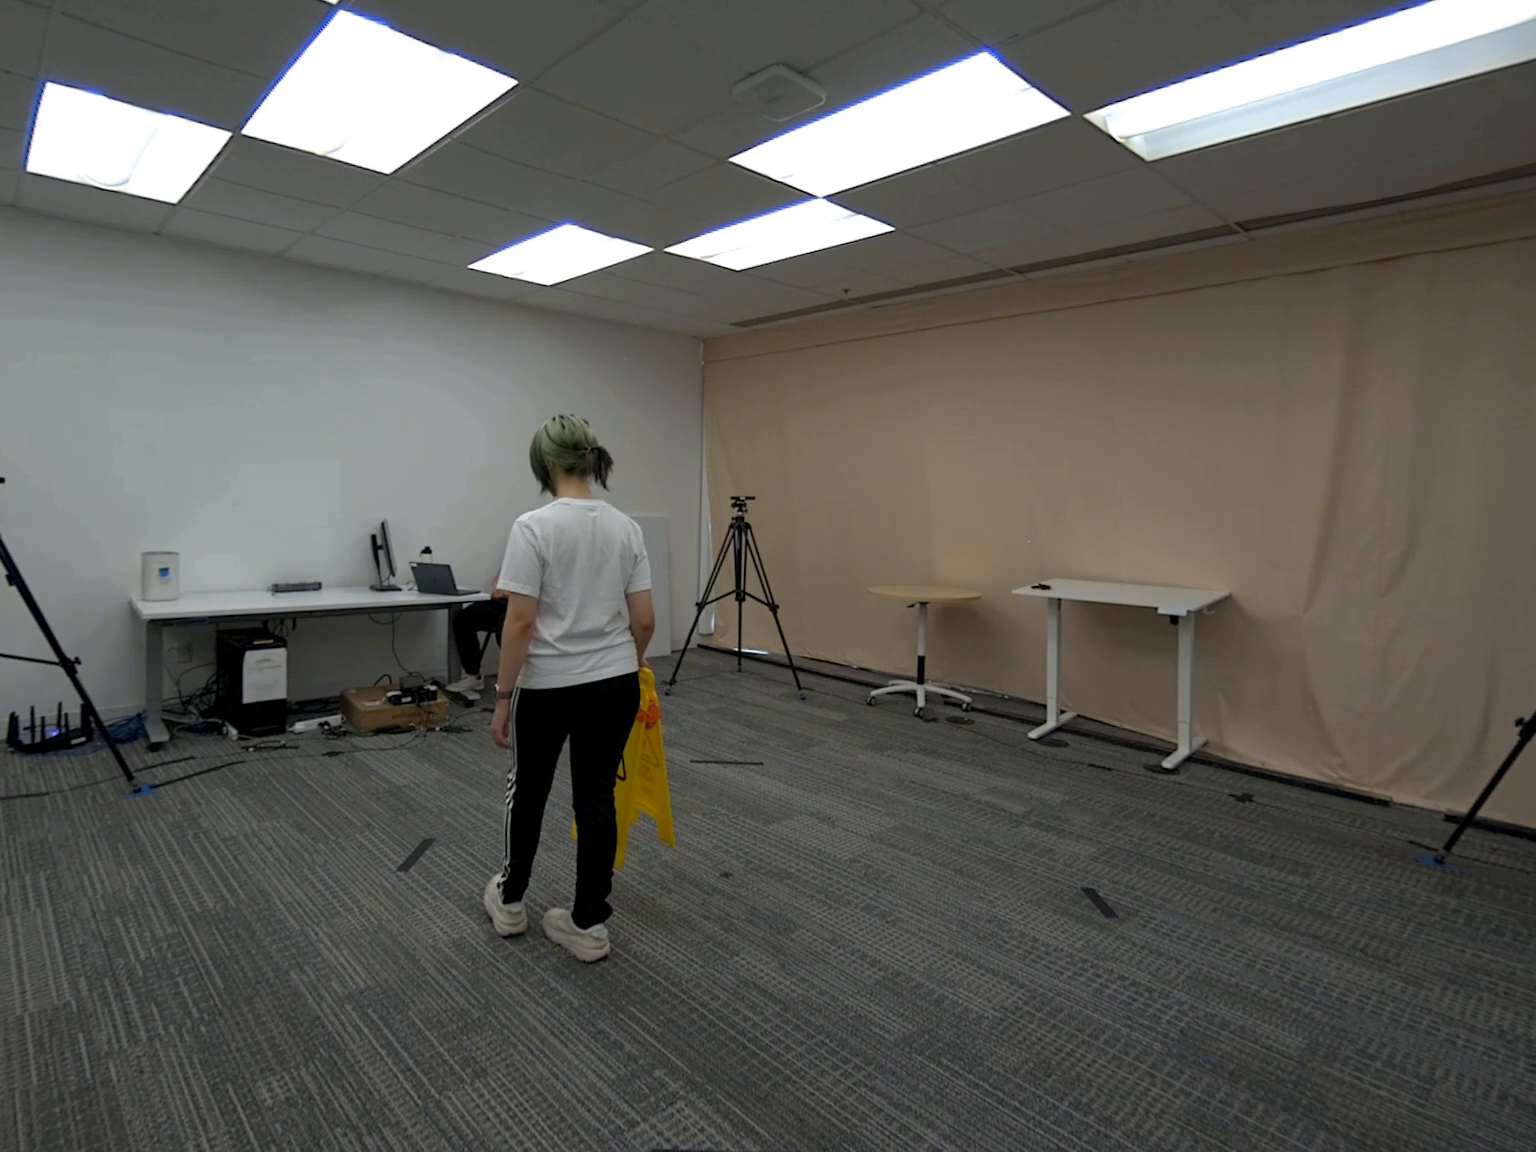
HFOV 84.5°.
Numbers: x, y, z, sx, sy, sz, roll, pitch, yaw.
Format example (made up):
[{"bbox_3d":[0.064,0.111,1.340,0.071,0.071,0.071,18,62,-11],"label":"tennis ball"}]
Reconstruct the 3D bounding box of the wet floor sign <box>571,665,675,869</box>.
[{"bbox_3d":[-0.489,0.612,2.877,0.290,0.642,0.283,14,12,43],"label":"wet floor sign"}]
